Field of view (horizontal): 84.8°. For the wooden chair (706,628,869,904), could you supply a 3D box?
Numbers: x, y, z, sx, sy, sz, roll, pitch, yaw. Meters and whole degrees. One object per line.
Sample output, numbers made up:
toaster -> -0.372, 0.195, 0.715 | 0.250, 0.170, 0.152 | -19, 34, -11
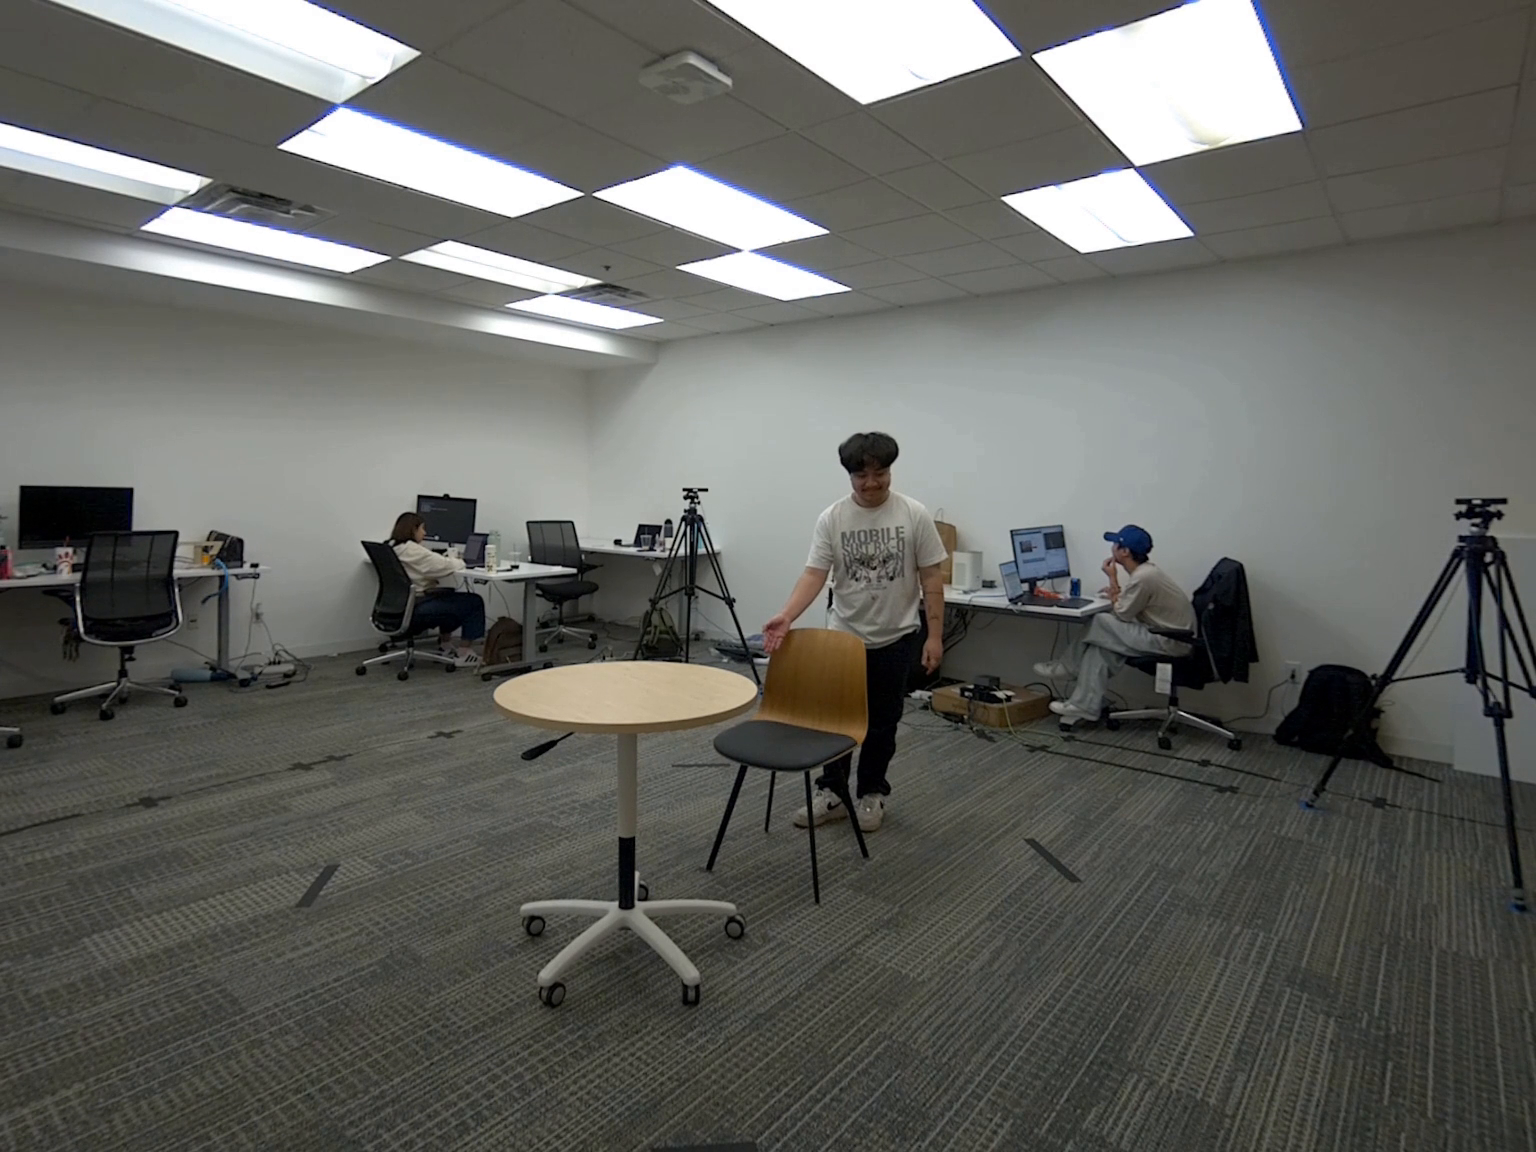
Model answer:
wooden chair -> 0.076, 0.644, 3.136 | 0.493, 0.878, 0.507 | 4, 0, 31
